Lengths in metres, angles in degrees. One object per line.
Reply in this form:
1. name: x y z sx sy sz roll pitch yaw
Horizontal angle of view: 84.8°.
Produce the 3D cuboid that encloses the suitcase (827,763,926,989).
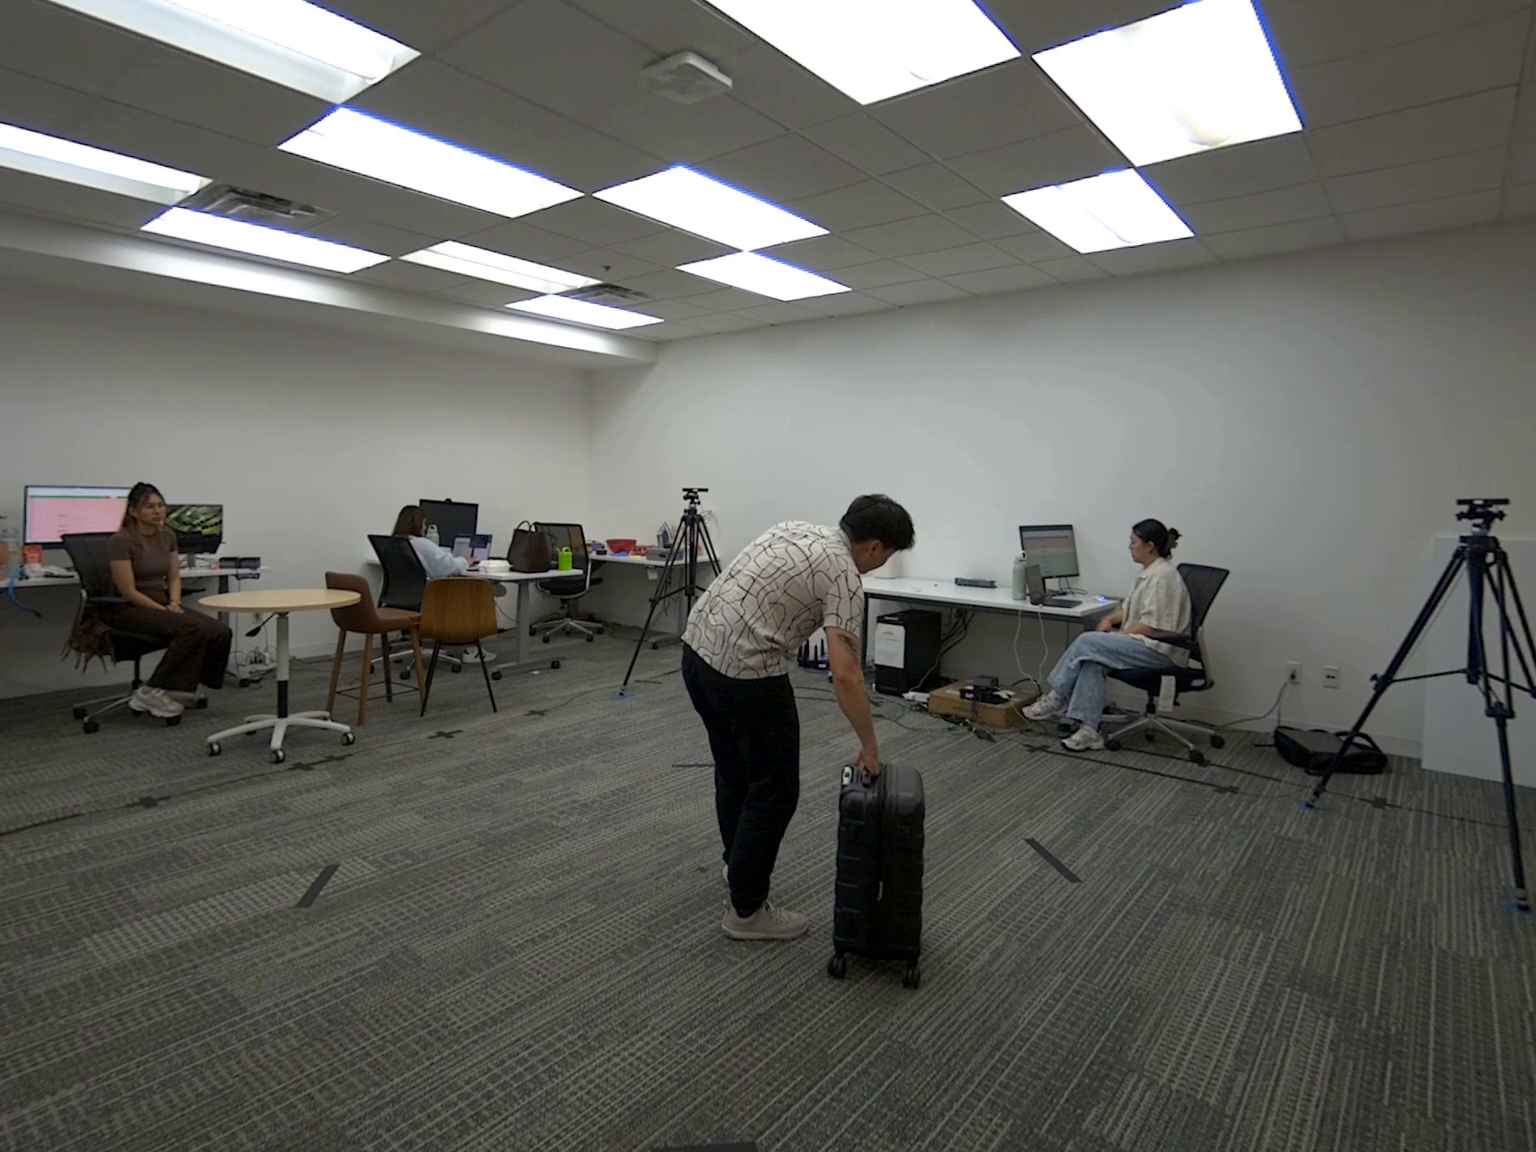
1. suitcase: 0.331 0.857 2.572 0.251 0.548 0.371 2 2 10
